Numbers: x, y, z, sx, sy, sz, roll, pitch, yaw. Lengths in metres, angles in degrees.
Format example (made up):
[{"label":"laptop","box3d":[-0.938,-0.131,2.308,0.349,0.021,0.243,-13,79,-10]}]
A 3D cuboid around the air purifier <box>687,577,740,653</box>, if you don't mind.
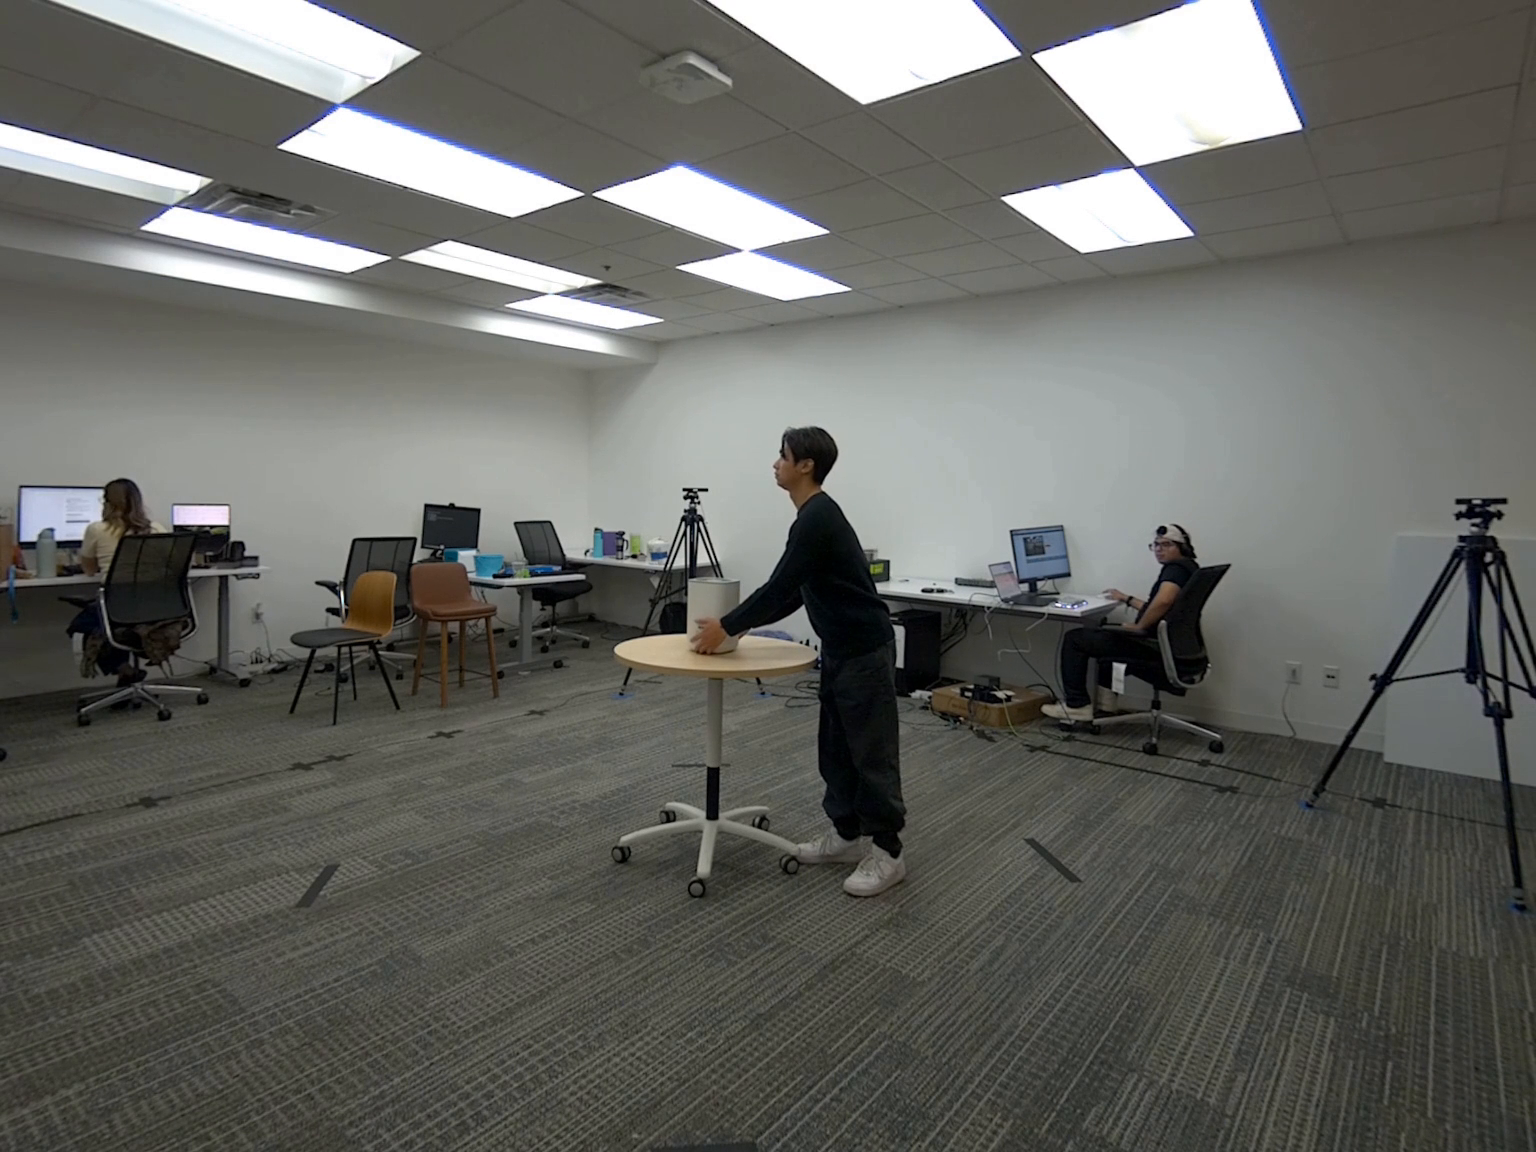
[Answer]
[{"label":"air purifier","box3d":[-0.215,0.138,3.205,0.176,0.264,0.167,4,4,27]}]
